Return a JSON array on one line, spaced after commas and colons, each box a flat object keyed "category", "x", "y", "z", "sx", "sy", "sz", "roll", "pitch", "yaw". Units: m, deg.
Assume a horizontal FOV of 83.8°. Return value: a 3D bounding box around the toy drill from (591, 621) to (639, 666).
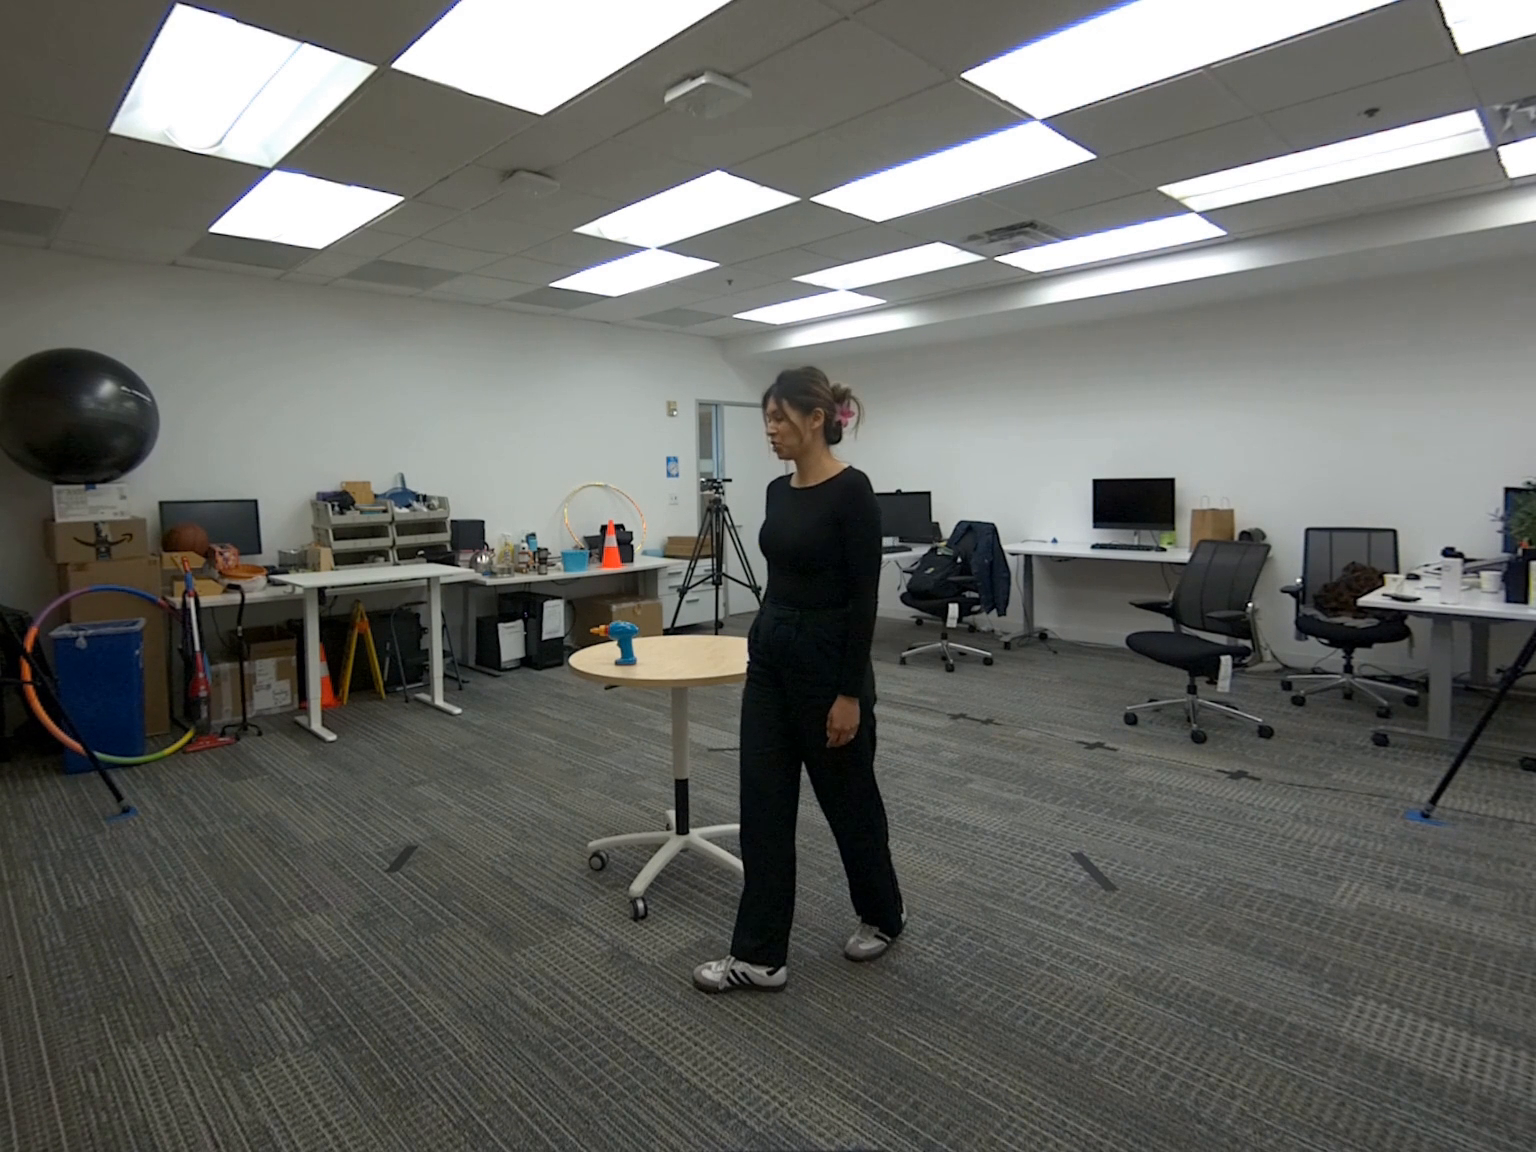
[{"category": "toy drill", "x": -0.520, "y": 0.223, "z": 2.867, "sx": 0.171, "sy": 0.146, "sz": 0.061, "roll": 0, "pitch": 1, "yaw": 7}]
